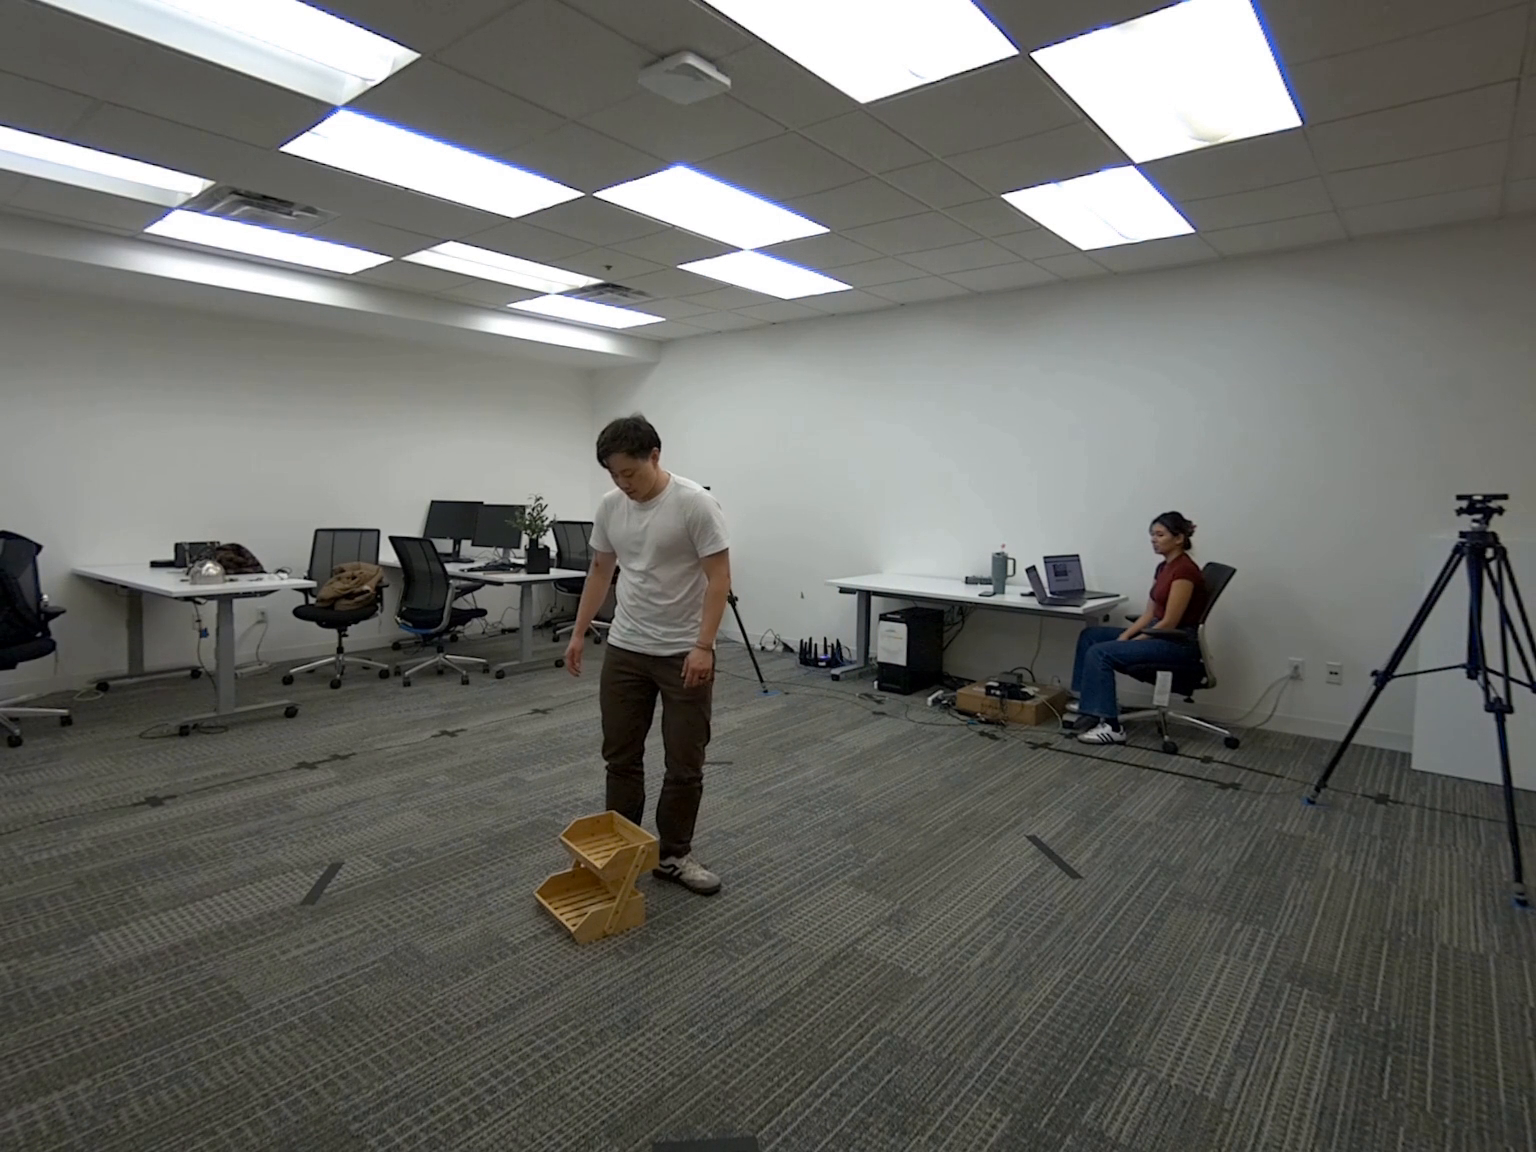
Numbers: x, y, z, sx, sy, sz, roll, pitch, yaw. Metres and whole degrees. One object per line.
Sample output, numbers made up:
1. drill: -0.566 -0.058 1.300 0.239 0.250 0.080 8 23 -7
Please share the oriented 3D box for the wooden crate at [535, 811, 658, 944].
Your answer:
1. wooden crate: -0.577 0.964 2.753 0.293 0.272 0.335 -3 6 -37
